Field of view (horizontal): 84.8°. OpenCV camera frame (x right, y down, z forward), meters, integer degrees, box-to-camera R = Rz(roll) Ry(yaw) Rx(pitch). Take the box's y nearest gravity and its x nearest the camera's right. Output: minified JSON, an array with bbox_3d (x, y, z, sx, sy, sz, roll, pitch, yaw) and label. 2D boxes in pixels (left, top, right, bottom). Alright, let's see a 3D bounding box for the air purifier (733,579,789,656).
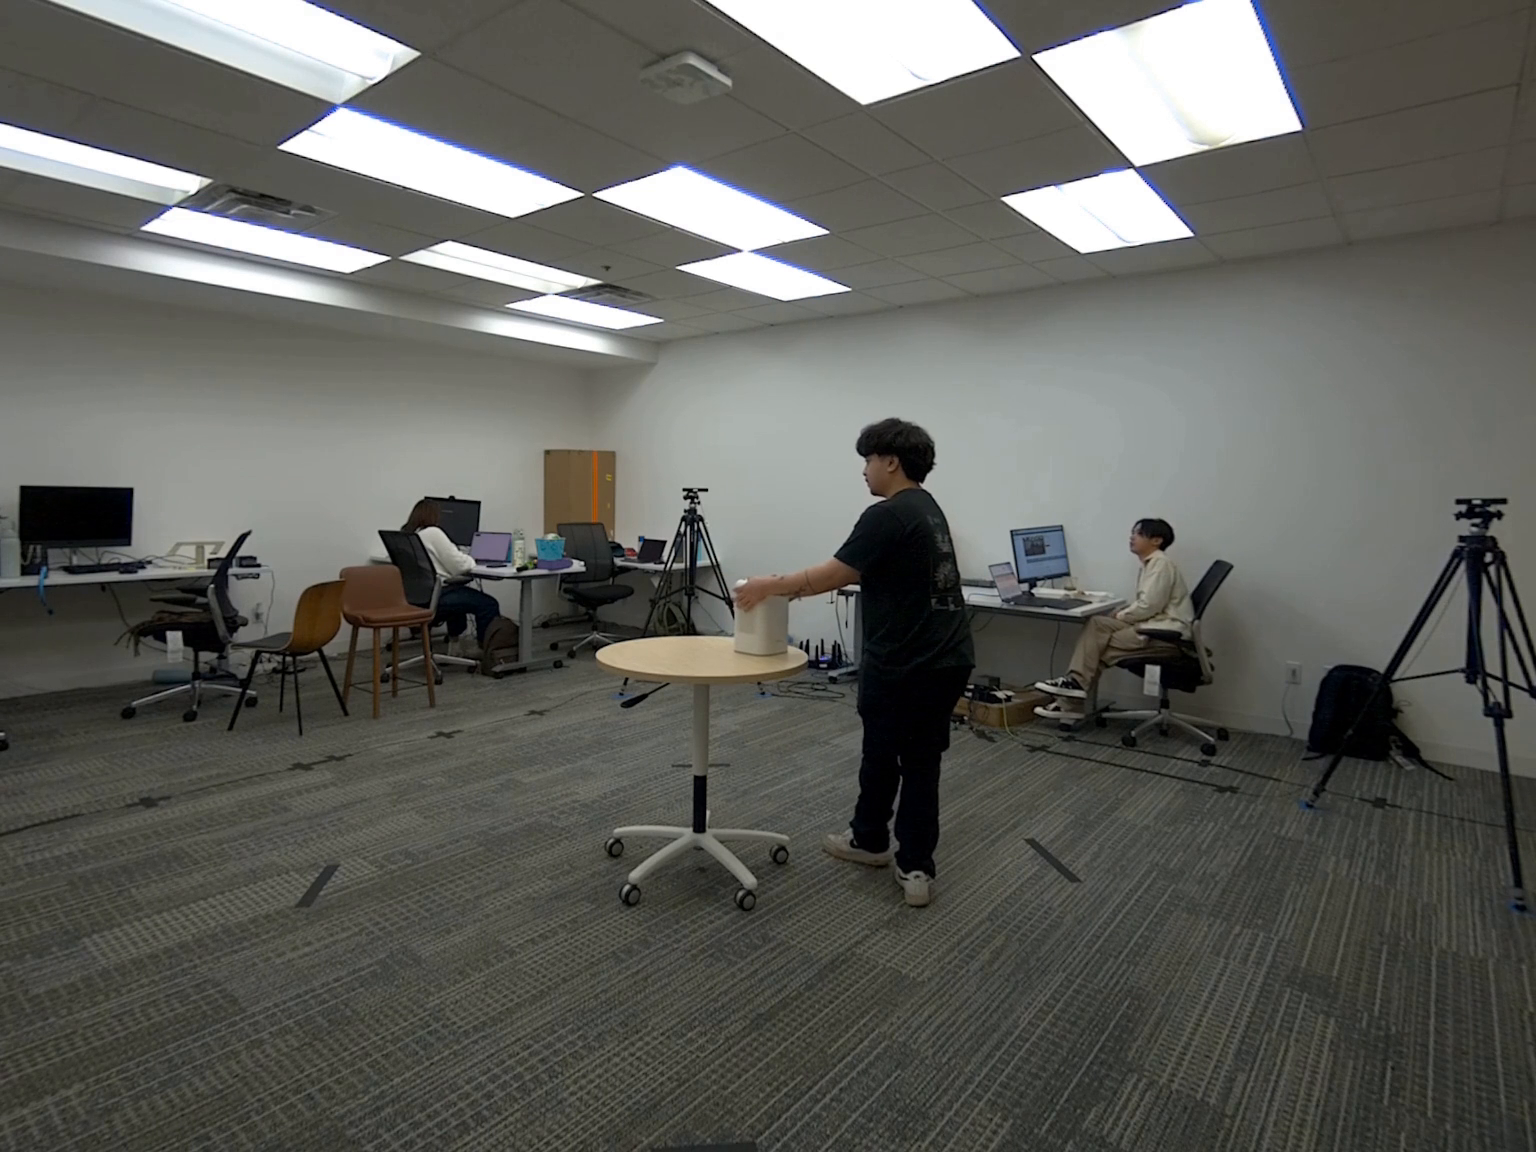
[{"bbox_3d":[-0.030,0.144,3.140,0.177,0.265,0.166,4,3,43],"label":"air purifier"}]
